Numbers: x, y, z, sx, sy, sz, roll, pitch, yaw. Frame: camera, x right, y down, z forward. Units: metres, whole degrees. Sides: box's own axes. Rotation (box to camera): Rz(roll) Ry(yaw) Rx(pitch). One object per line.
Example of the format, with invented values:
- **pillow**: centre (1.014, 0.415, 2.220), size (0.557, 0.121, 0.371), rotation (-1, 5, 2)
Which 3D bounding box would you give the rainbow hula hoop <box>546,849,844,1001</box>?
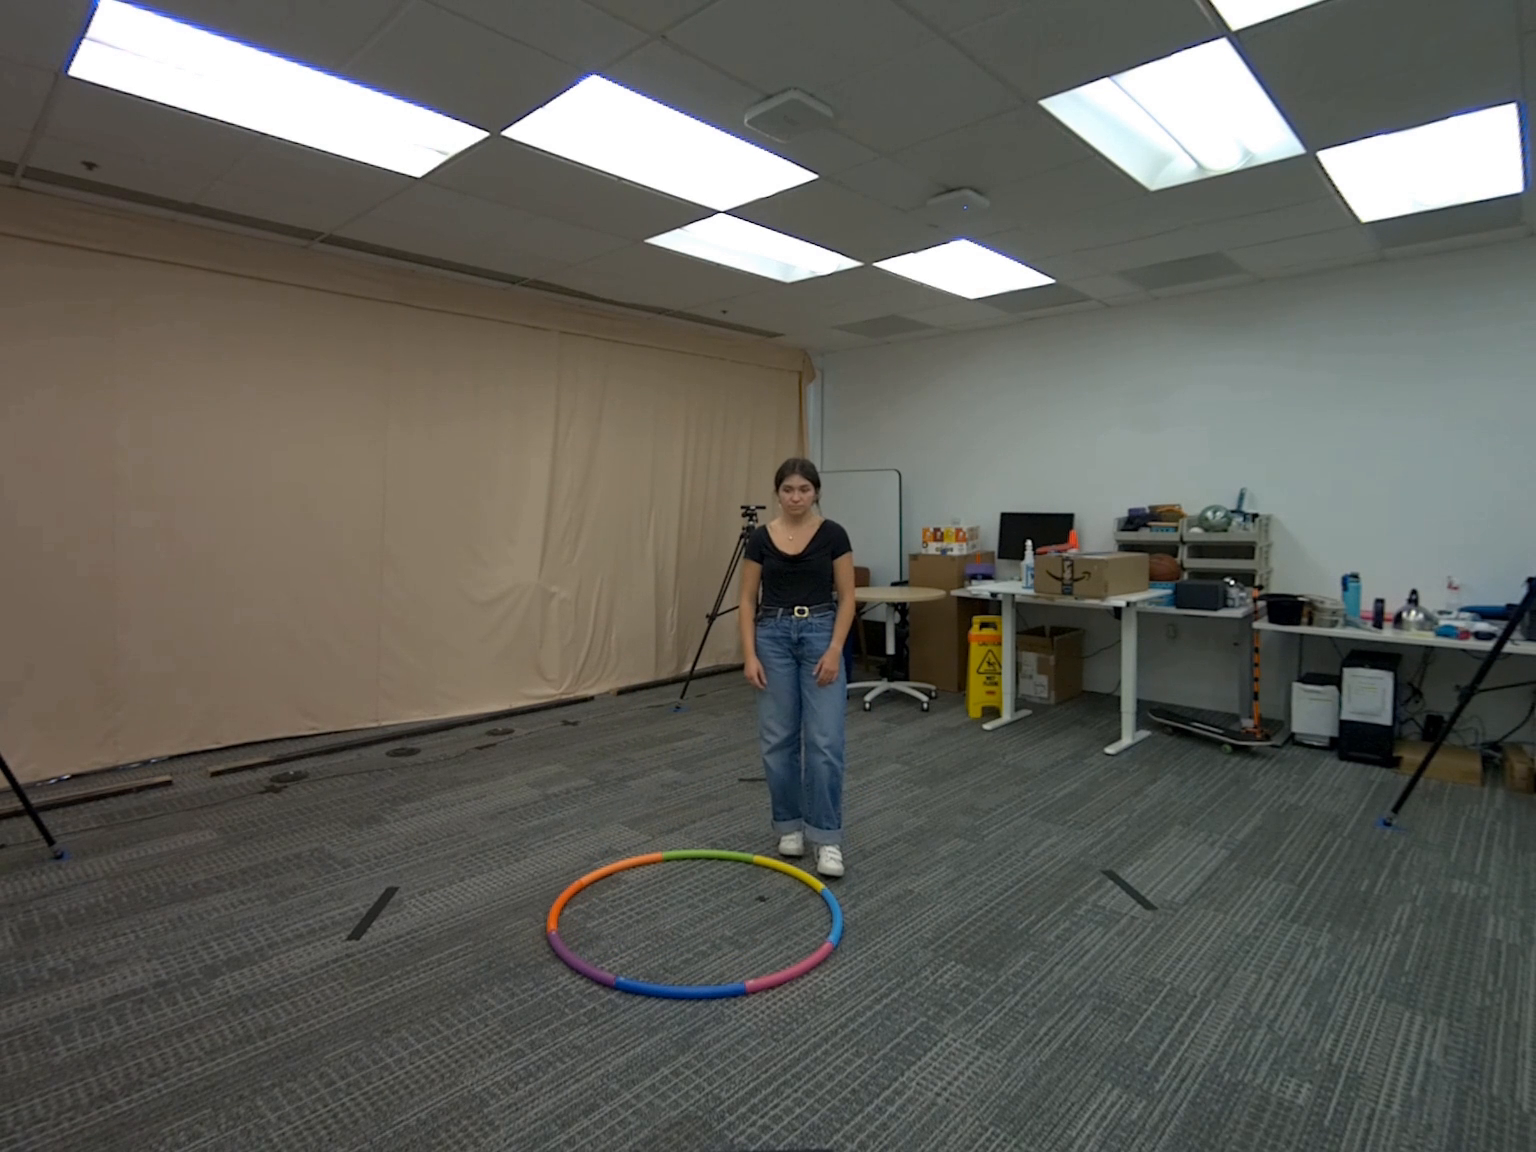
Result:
- **rainbow hula hoop**: centre (-0.239, 1.129, 2.855), size (0.978, 0.035, 0.982), rotation (0, 5, -2)
